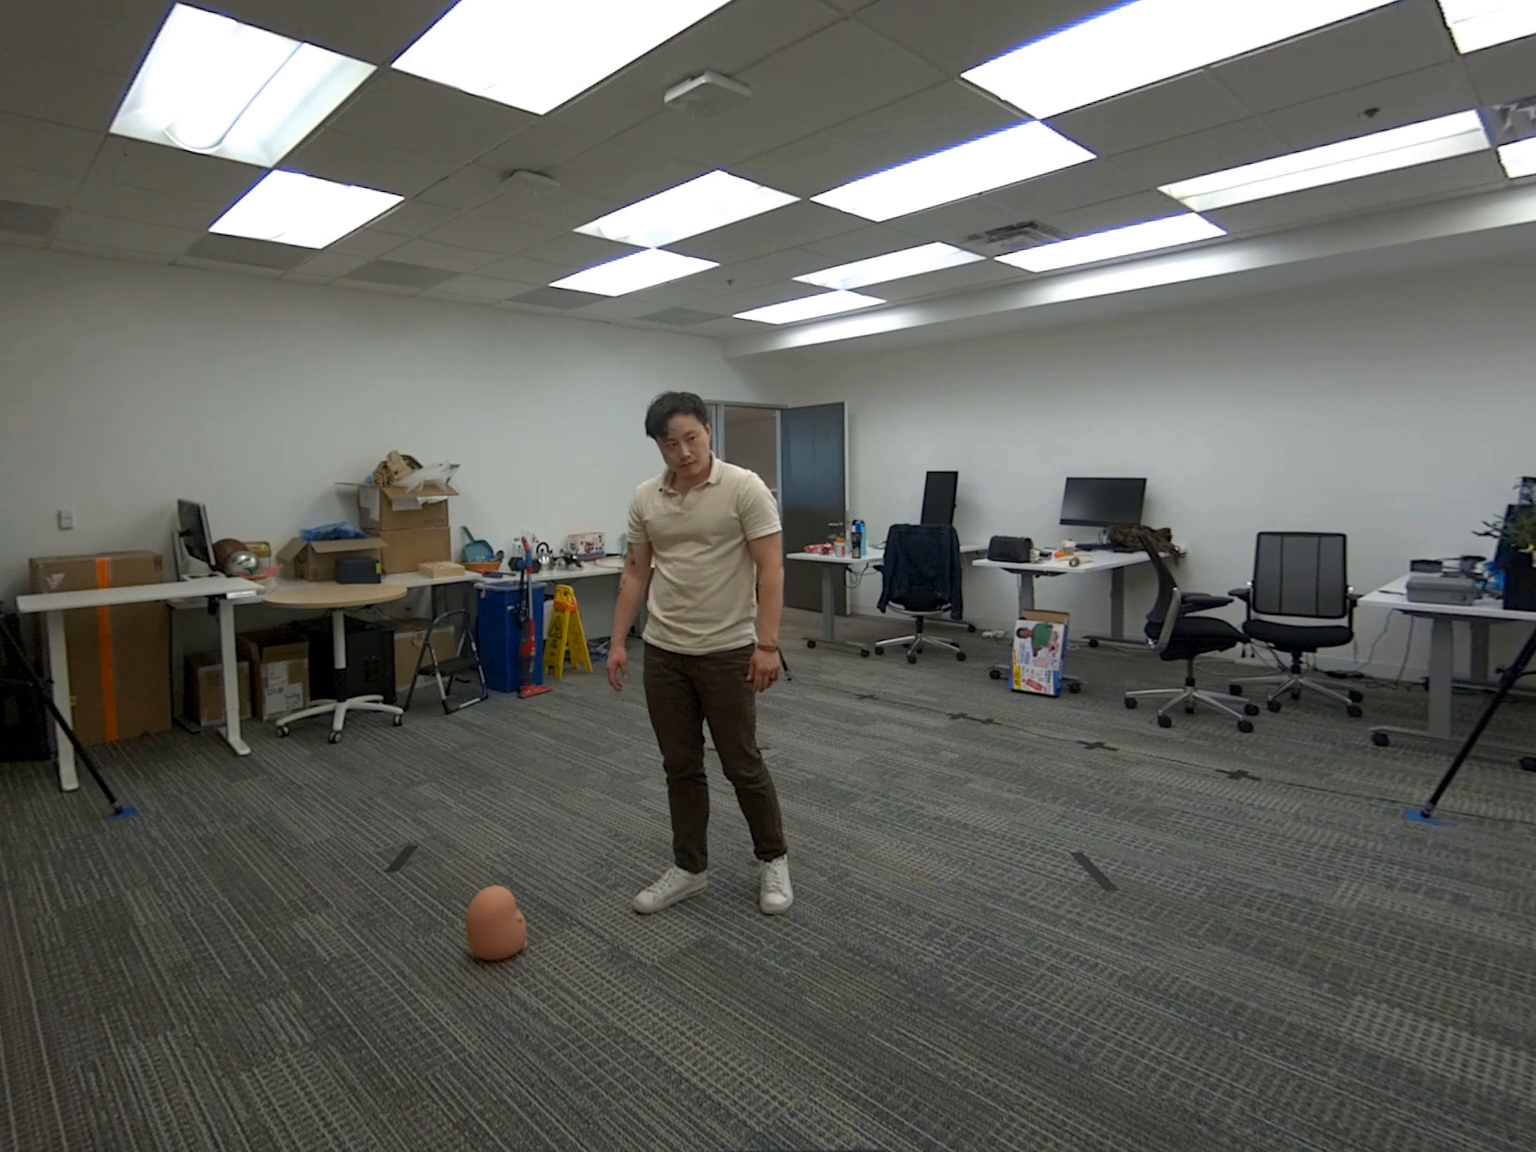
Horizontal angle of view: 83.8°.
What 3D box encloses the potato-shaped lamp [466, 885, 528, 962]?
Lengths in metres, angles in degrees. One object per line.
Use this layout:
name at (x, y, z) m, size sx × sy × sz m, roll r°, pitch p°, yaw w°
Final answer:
potato-shaped lamp at (-0.803, 1.024, 2.545) m, size 0.167 × 0.197 × 0.170 m, roll -7°, pitch 10°, yaw -40°
